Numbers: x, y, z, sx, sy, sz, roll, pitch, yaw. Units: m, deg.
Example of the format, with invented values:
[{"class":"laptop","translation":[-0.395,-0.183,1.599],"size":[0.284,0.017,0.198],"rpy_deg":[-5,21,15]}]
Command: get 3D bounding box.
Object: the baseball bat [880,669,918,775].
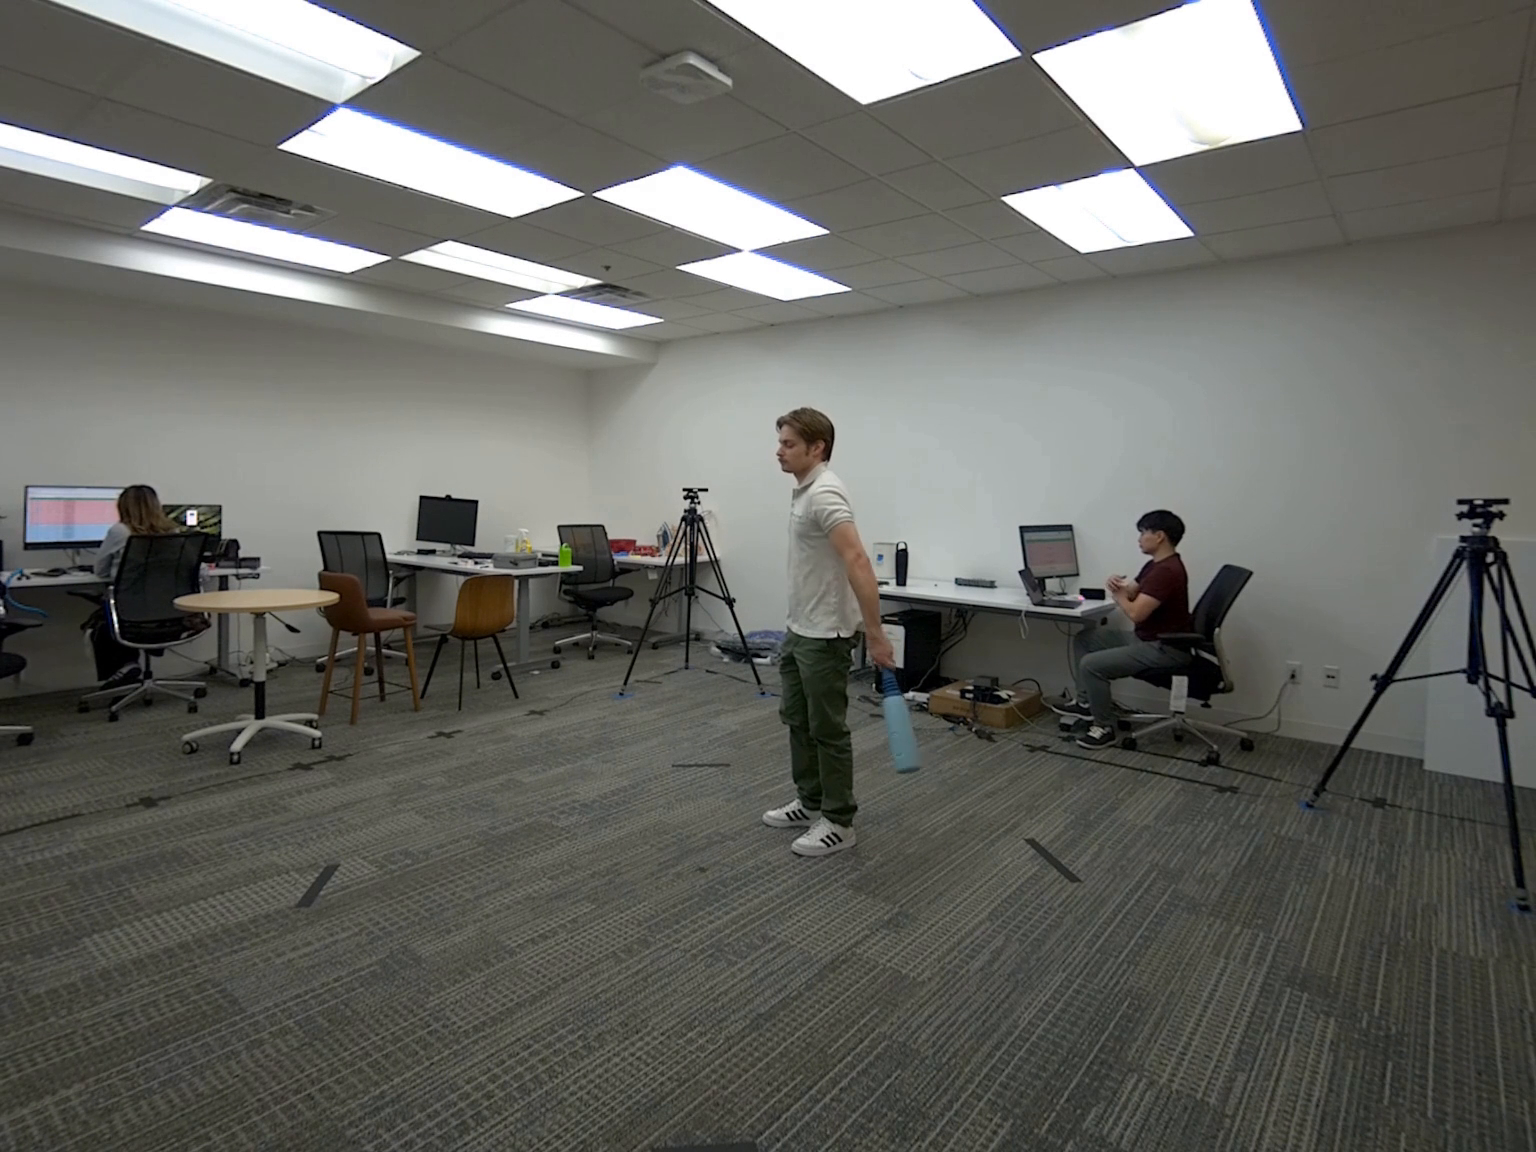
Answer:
[{"class":"baseball bat","translation":[0.378,0.388,2.950],"size":[0.089,0.558,0.087],"rpy_deg":[-7,-28,-5]}]
